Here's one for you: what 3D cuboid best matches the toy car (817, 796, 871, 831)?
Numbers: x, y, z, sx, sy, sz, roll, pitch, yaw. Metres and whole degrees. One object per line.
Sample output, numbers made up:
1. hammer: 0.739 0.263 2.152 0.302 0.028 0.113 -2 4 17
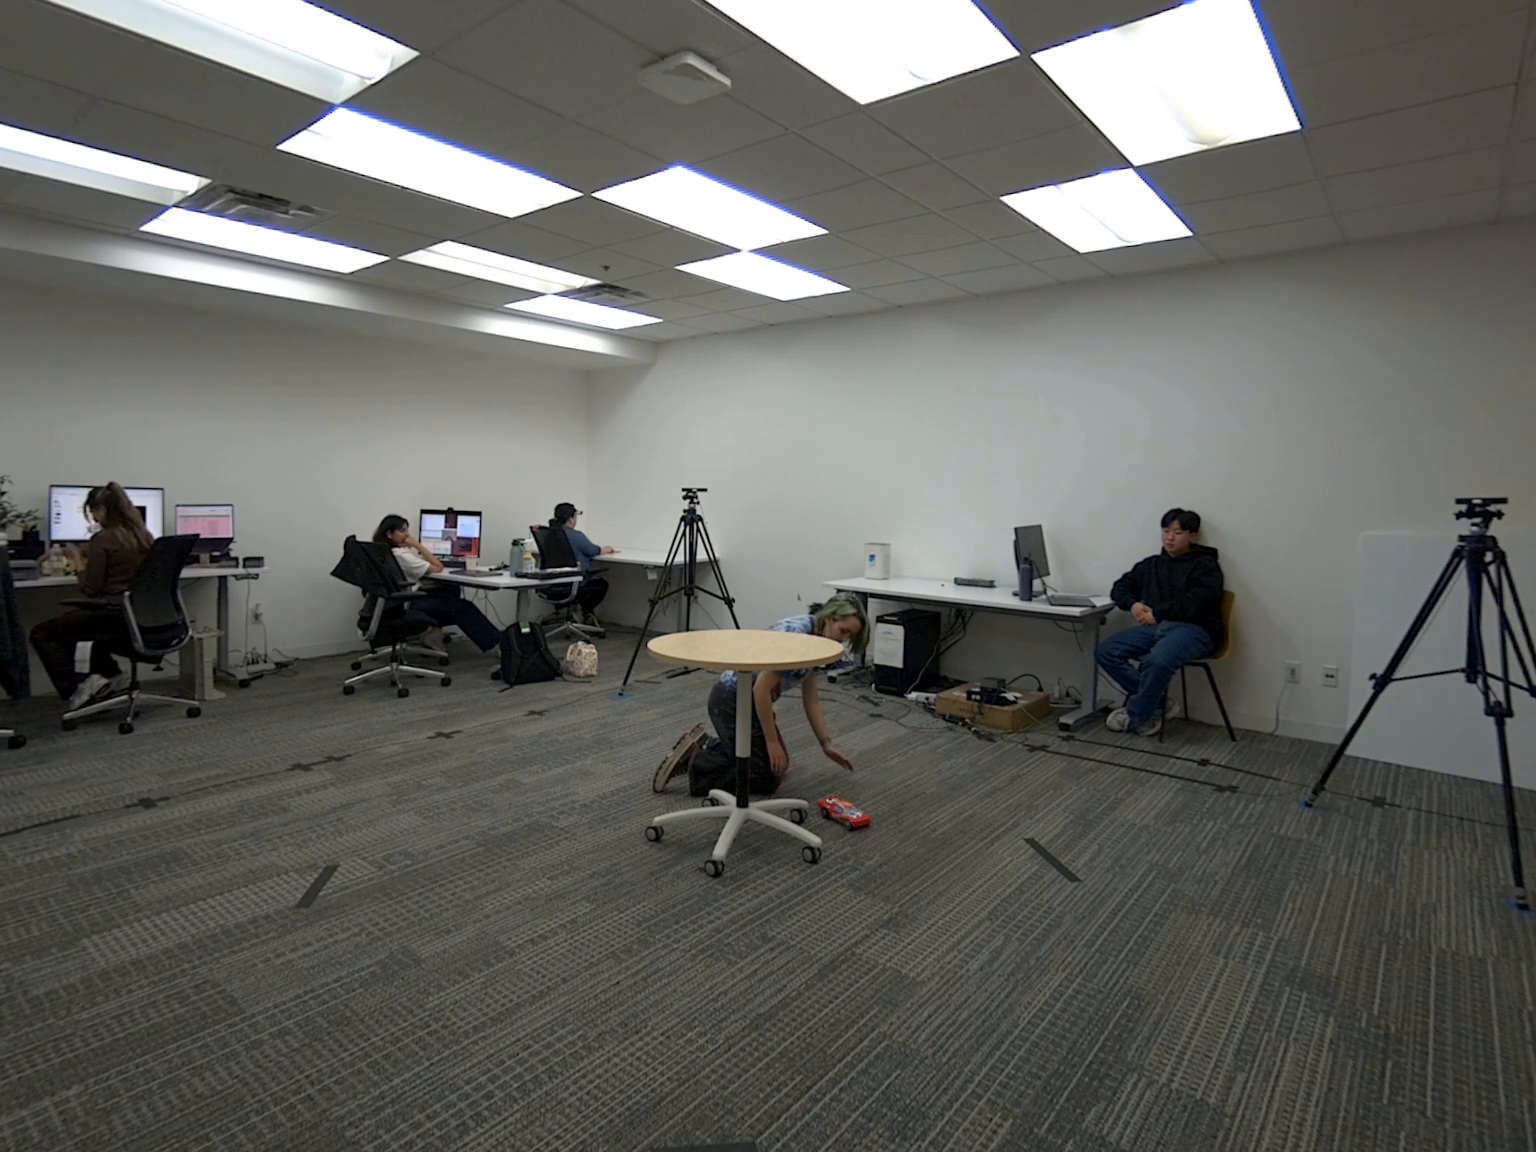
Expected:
1. toy car: 0.313 1.003 3.608 0.126 0.082 0.265 -1 16 -35
